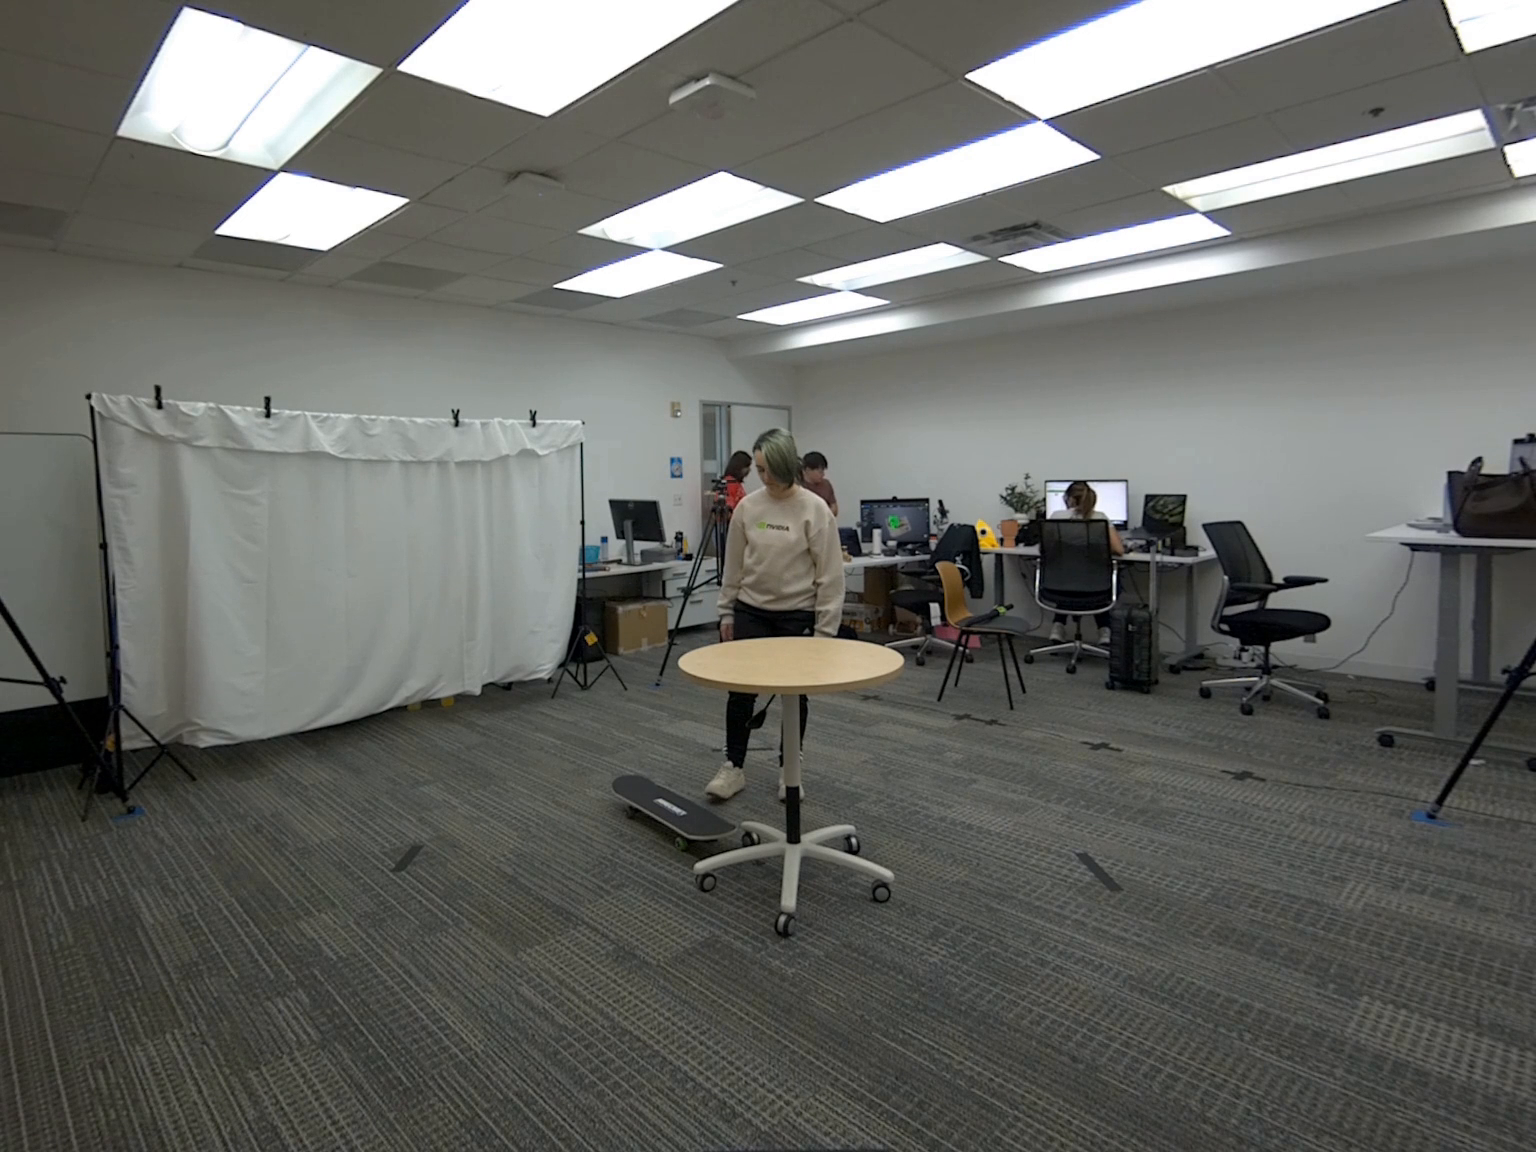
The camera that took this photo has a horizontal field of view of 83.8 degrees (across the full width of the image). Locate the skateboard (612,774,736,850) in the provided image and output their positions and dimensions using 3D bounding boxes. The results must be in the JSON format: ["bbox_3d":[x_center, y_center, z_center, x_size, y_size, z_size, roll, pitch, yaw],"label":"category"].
[{"bbox_3d":[-0.386,0.961,3.434,0.188,0.110,0.809,-5,7,-37],"label":"skateboard"}]
